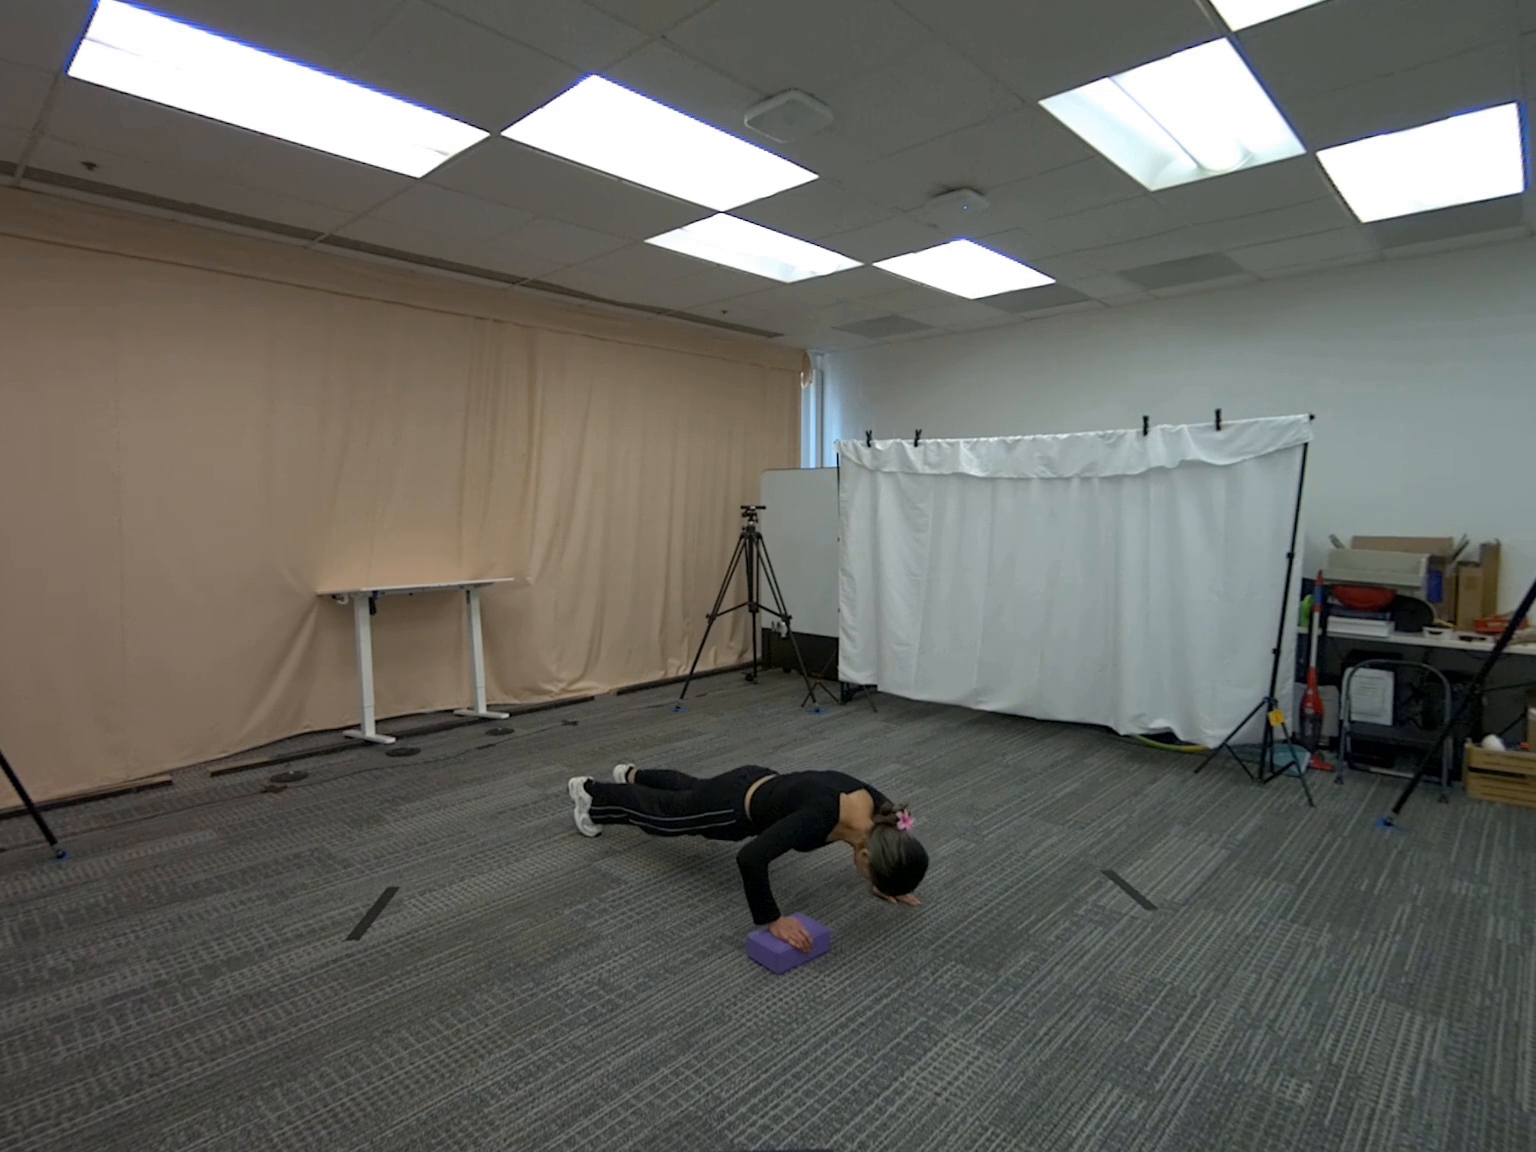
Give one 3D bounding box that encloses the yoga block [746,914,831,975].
[{"bbox_3d":[0.067,1.135,2.616,0.222,0.076,0.154,-4,7,-41],"label":"yoga block"}]
